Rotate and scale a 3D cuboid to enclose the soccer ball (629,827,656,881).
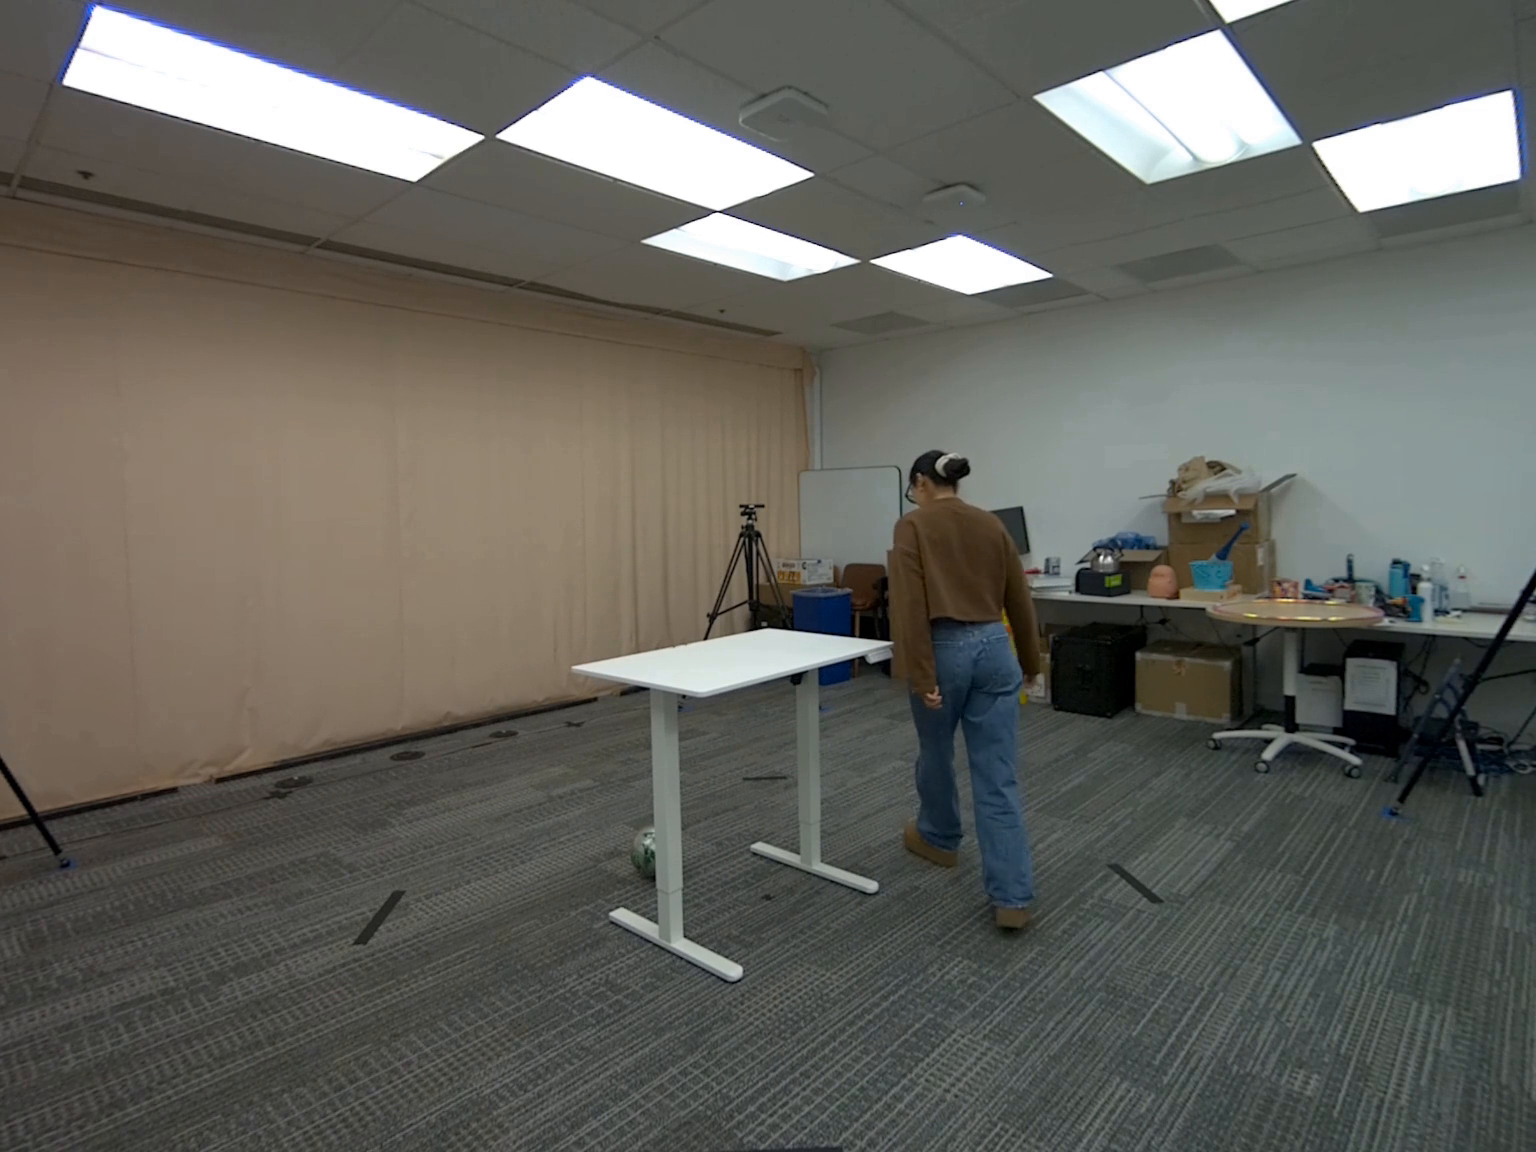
[{"bbox_3d":[-0.430,1.042,3.183,0.187,0.187,0.188,-1,4,-2],"label":"soccer ball"}]
